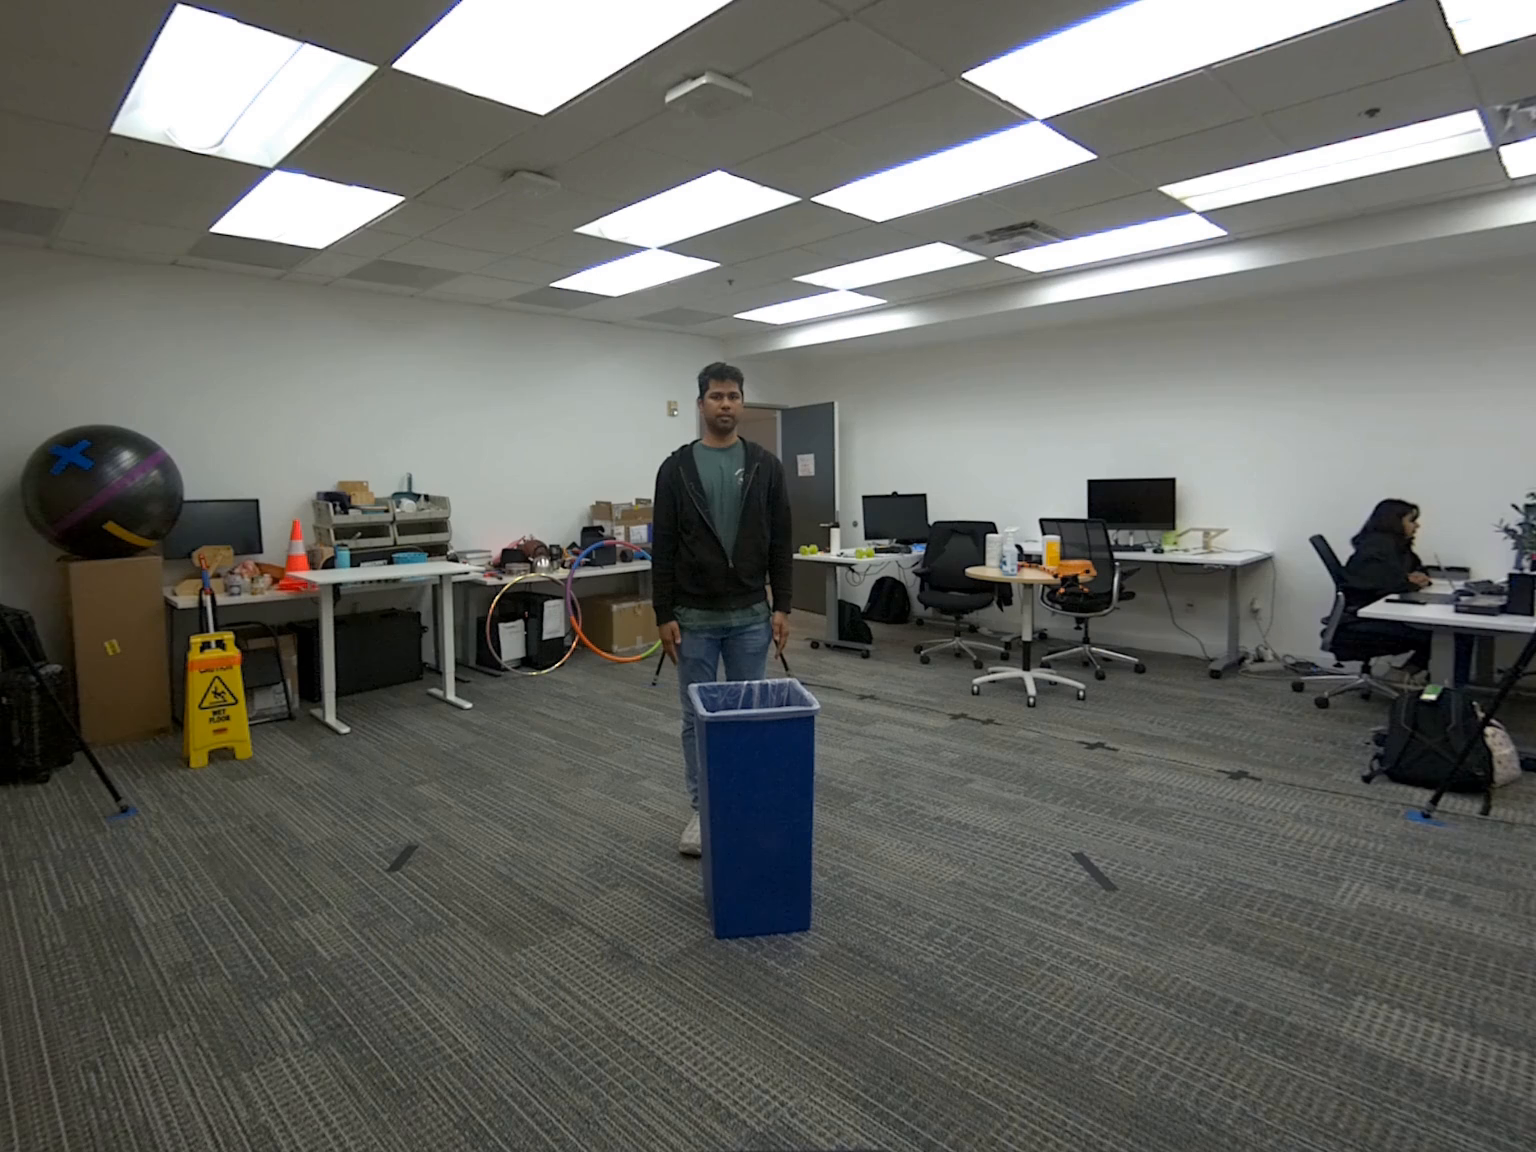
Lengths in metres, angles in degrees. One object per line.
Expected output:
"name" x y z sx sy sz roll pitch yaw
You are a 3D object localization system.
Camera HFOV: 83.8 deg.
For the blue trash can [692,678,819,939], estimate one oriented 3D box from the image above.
"blue trash can" -0.045 0.734 2.728 0.375 0.710 0.379 -2 5 -10
